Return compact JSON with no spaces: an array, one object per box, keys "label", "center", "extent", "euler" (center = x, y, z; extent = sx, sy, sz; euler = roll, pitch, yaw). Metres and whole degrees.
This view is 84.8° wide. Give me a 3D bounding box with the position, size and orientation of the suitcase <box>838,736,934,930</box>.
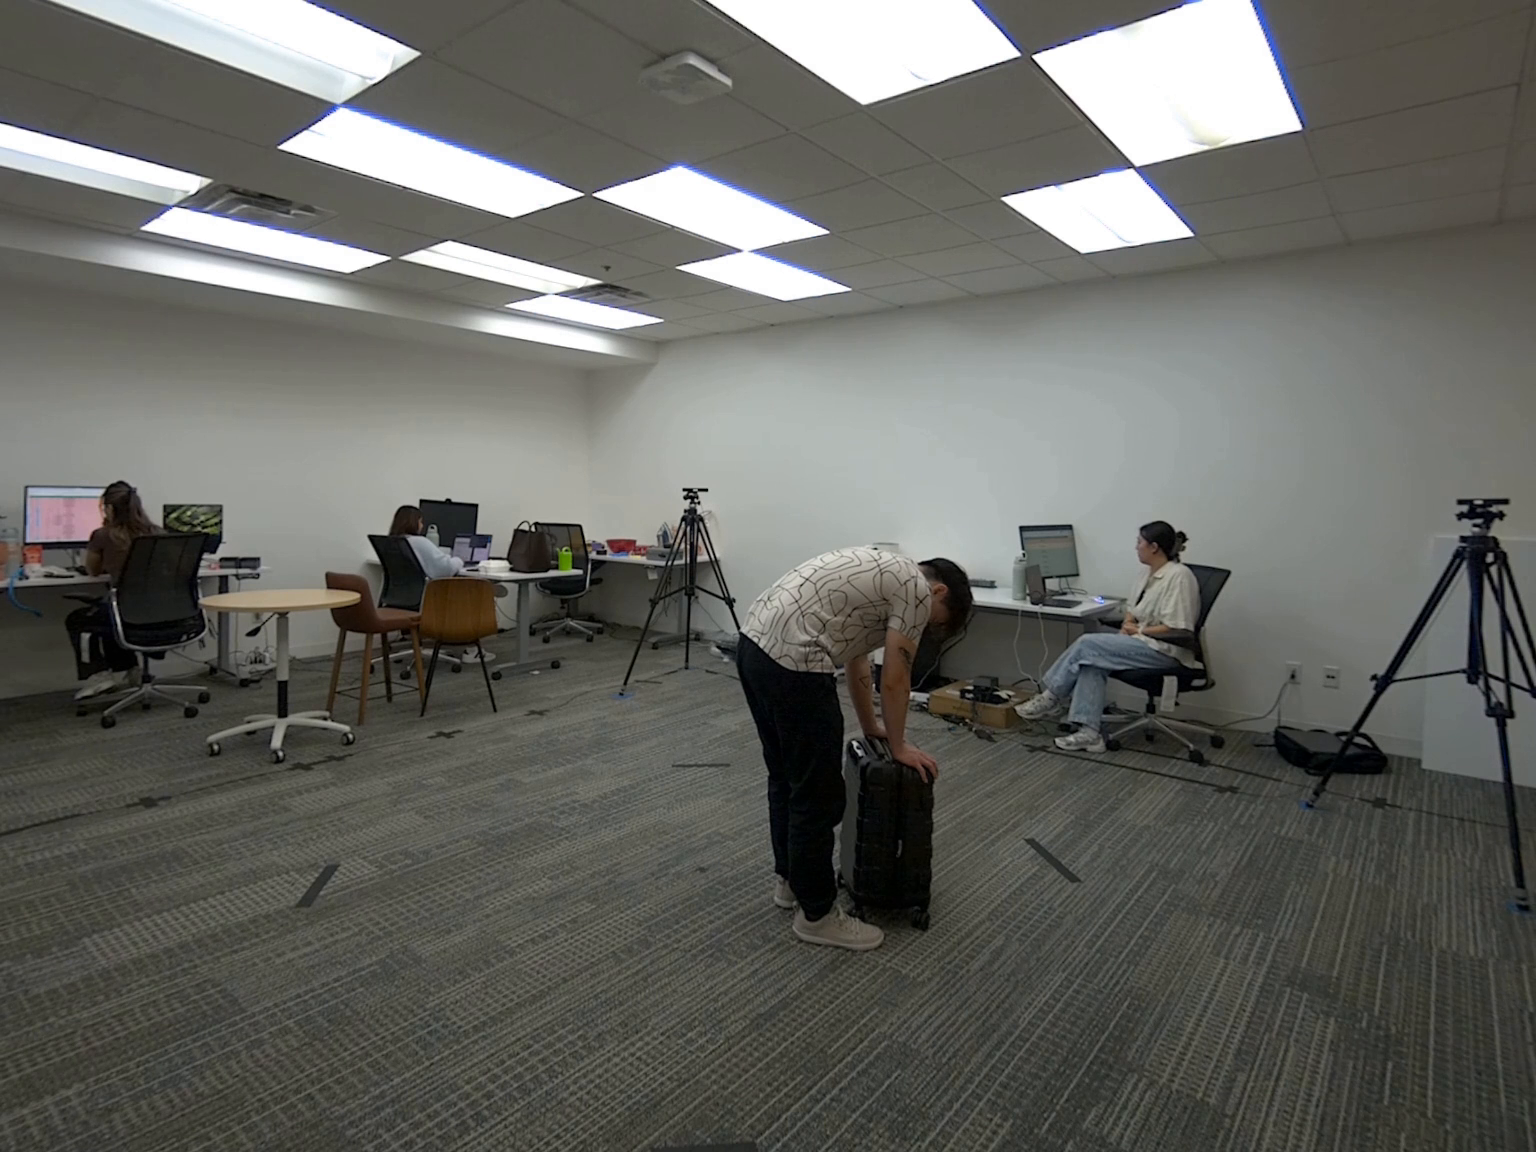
[{"label":"suitcase","center":[0.396,0.833,2.877],"extent":[0.248,0.548,0.377],"euler":[3,2,-2]}]
